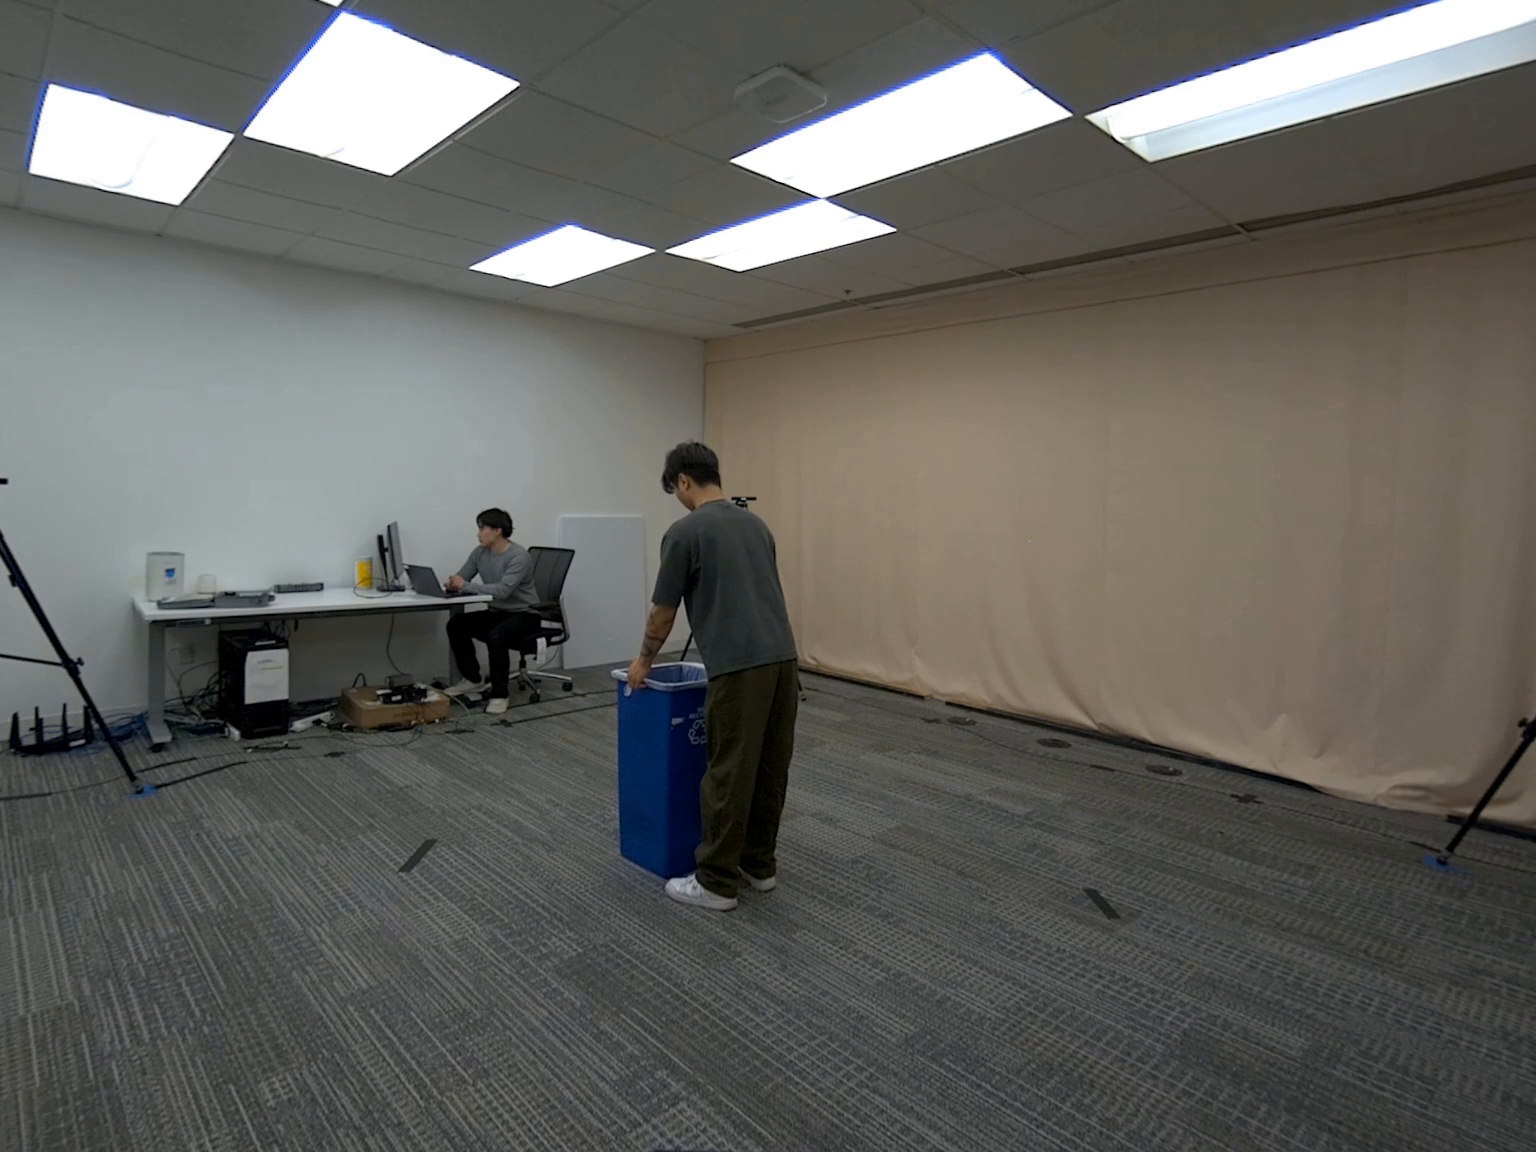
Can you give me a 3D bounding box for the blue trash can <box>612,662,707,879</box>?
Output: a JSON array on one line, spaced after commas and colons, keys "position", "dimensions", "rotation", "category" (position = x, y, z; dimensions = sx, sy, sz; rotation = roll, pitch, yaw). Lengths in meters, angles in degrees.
[{"position": [-0.376, 0.729, 3.256], "dimensions": [0.369, 0.712, 0.383], "rotation": [0, 3, -45], "category": "blue trash can"}]
